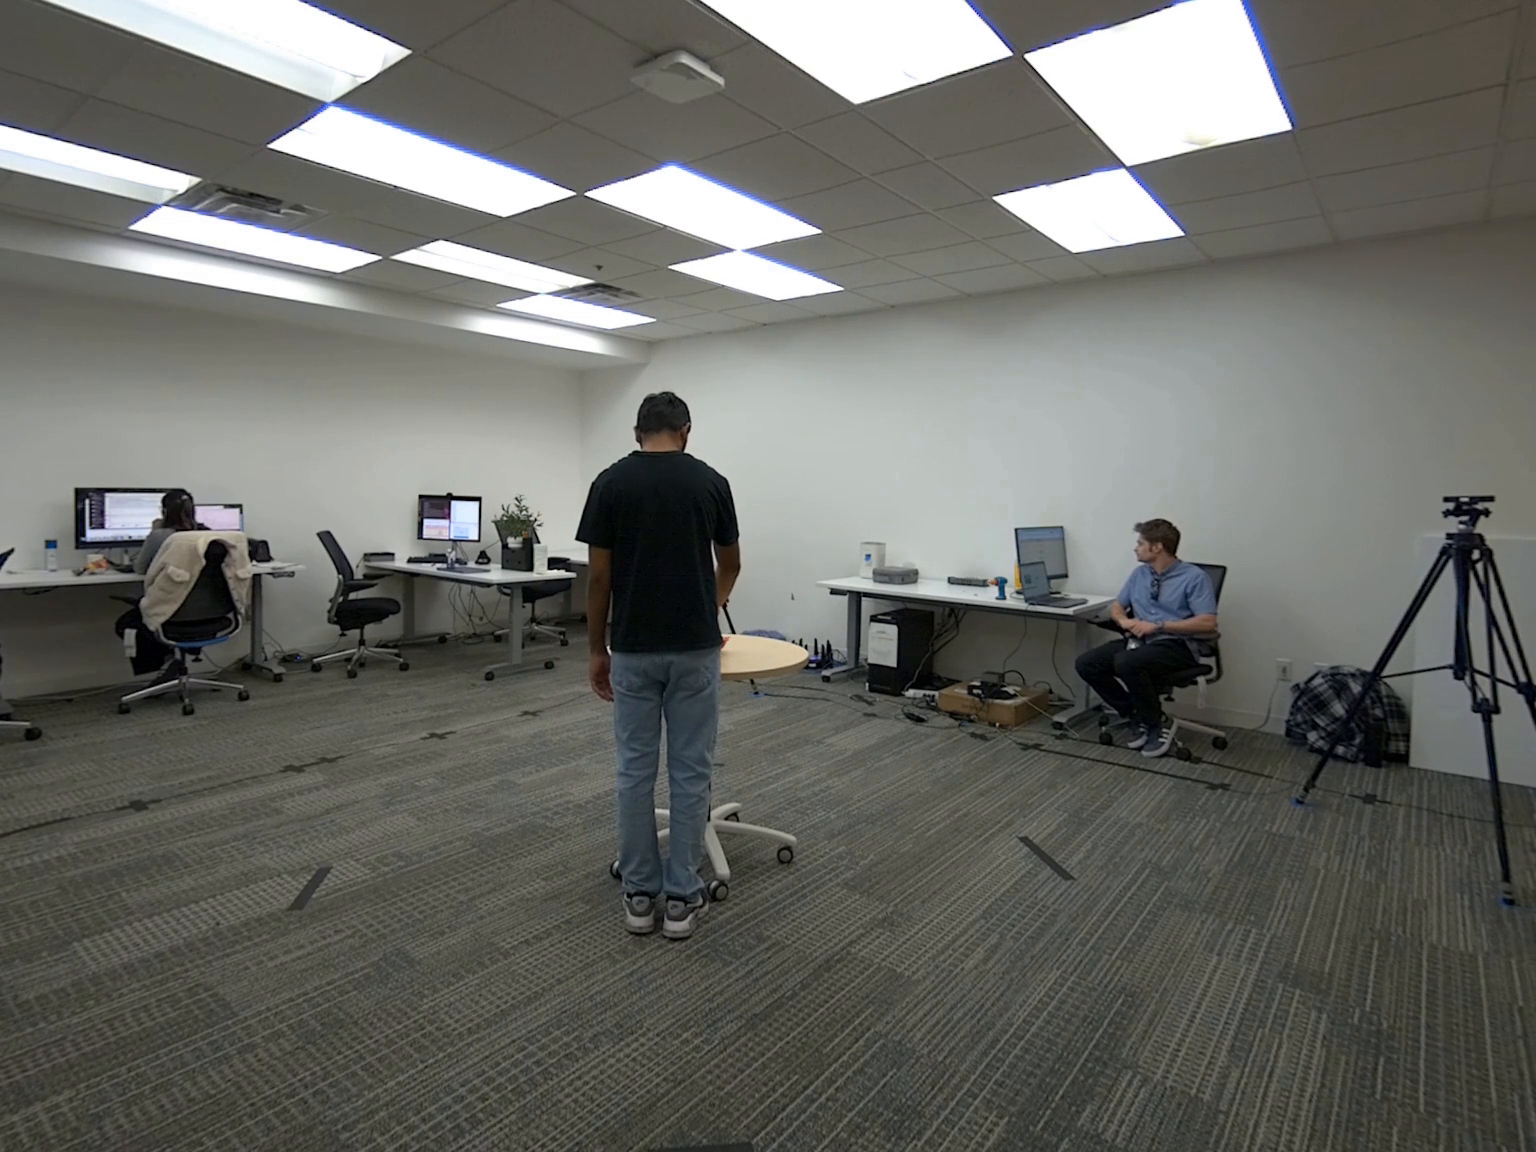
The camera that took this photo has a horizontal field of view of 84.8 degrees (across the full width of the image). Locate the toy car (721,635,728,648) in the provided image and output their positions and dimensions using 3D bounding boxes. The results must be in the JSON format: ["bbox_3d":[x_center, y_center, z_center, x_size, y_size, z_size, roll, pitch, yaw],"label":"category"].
[{"bbox_3d":[-0.271,0.249,3.149,0.256,0.083,0.130,-10,3,8],"label":"toy car"}]
